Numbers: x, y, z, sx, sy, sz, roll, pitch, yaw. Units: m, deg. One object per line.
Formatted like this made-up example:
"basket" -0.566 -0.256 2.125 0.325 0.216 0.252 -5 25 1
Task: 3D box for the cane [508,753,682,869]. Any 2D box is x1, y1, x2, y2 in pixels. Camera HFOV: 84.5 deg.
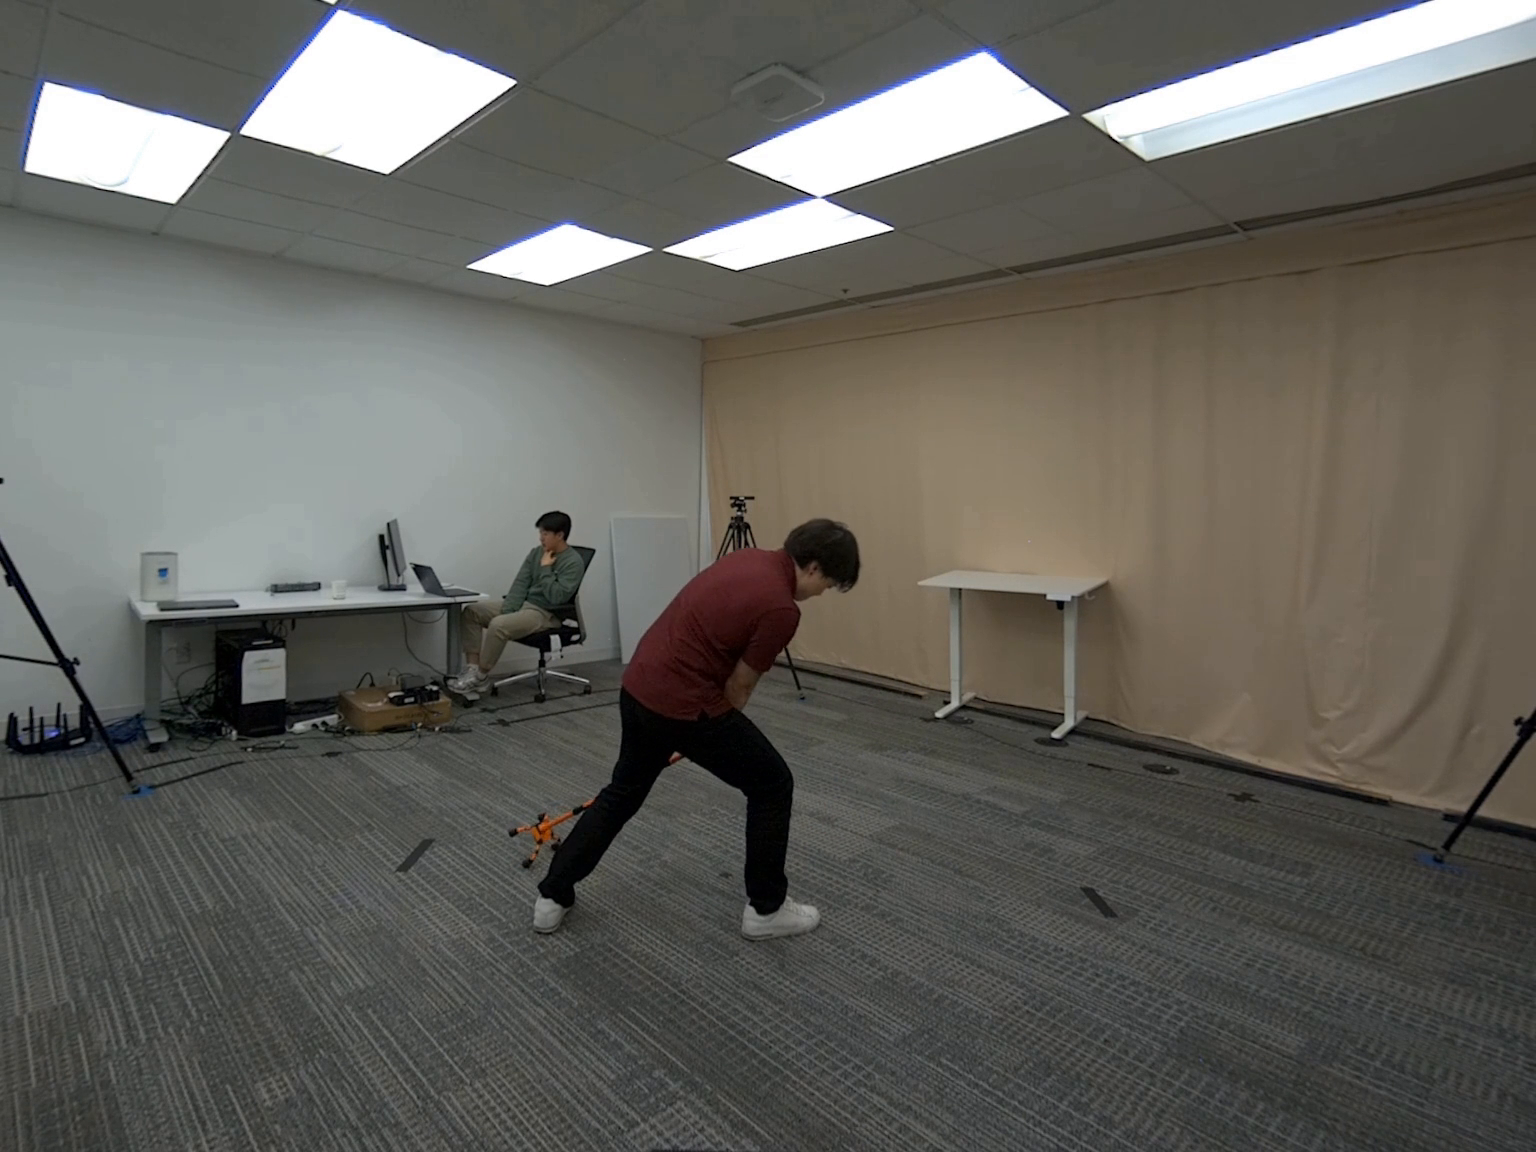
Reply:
"cane" -0.544 0.792 3.052 0.913 0.153 0.203 -32 -7 22
